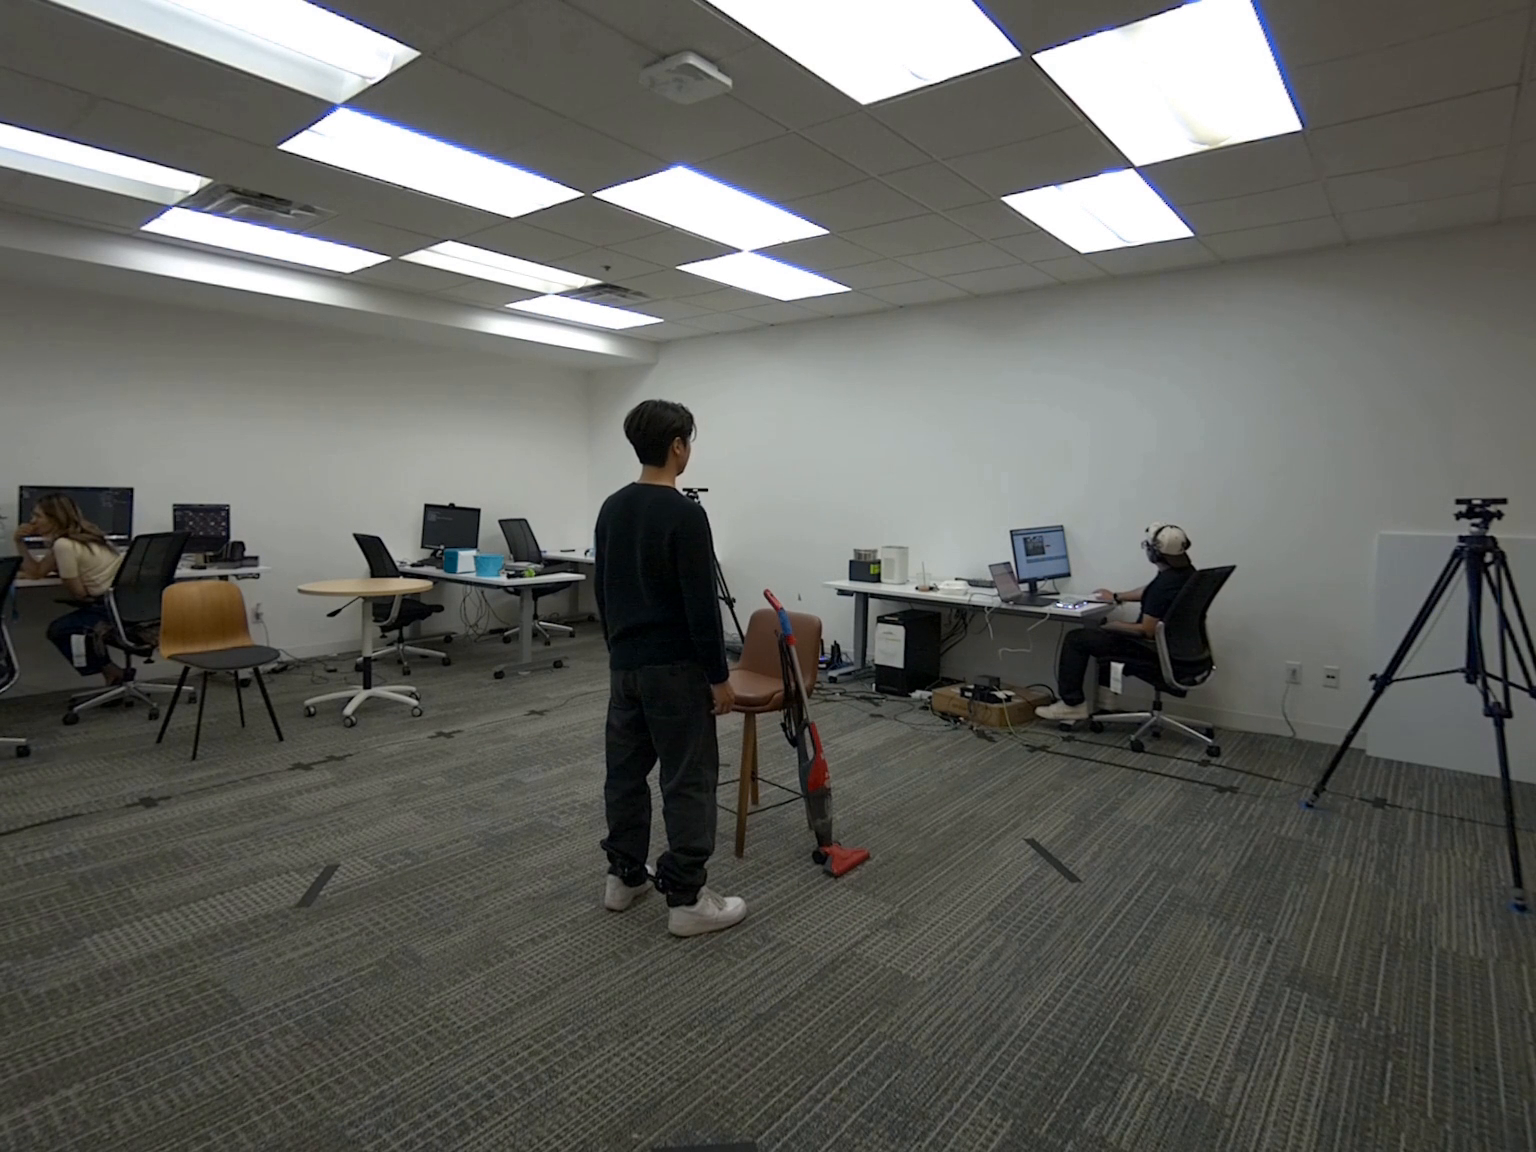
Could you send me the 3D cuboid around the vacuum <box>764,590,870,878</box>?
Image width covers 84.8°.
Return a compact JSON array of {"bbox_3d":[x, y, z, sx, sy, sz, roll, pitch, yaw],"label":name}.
[{"bbox_3d":[0.131,0.565,3.290,0.146,1.062,0.245,-21,-12,35],"label":"vacuum"}]
